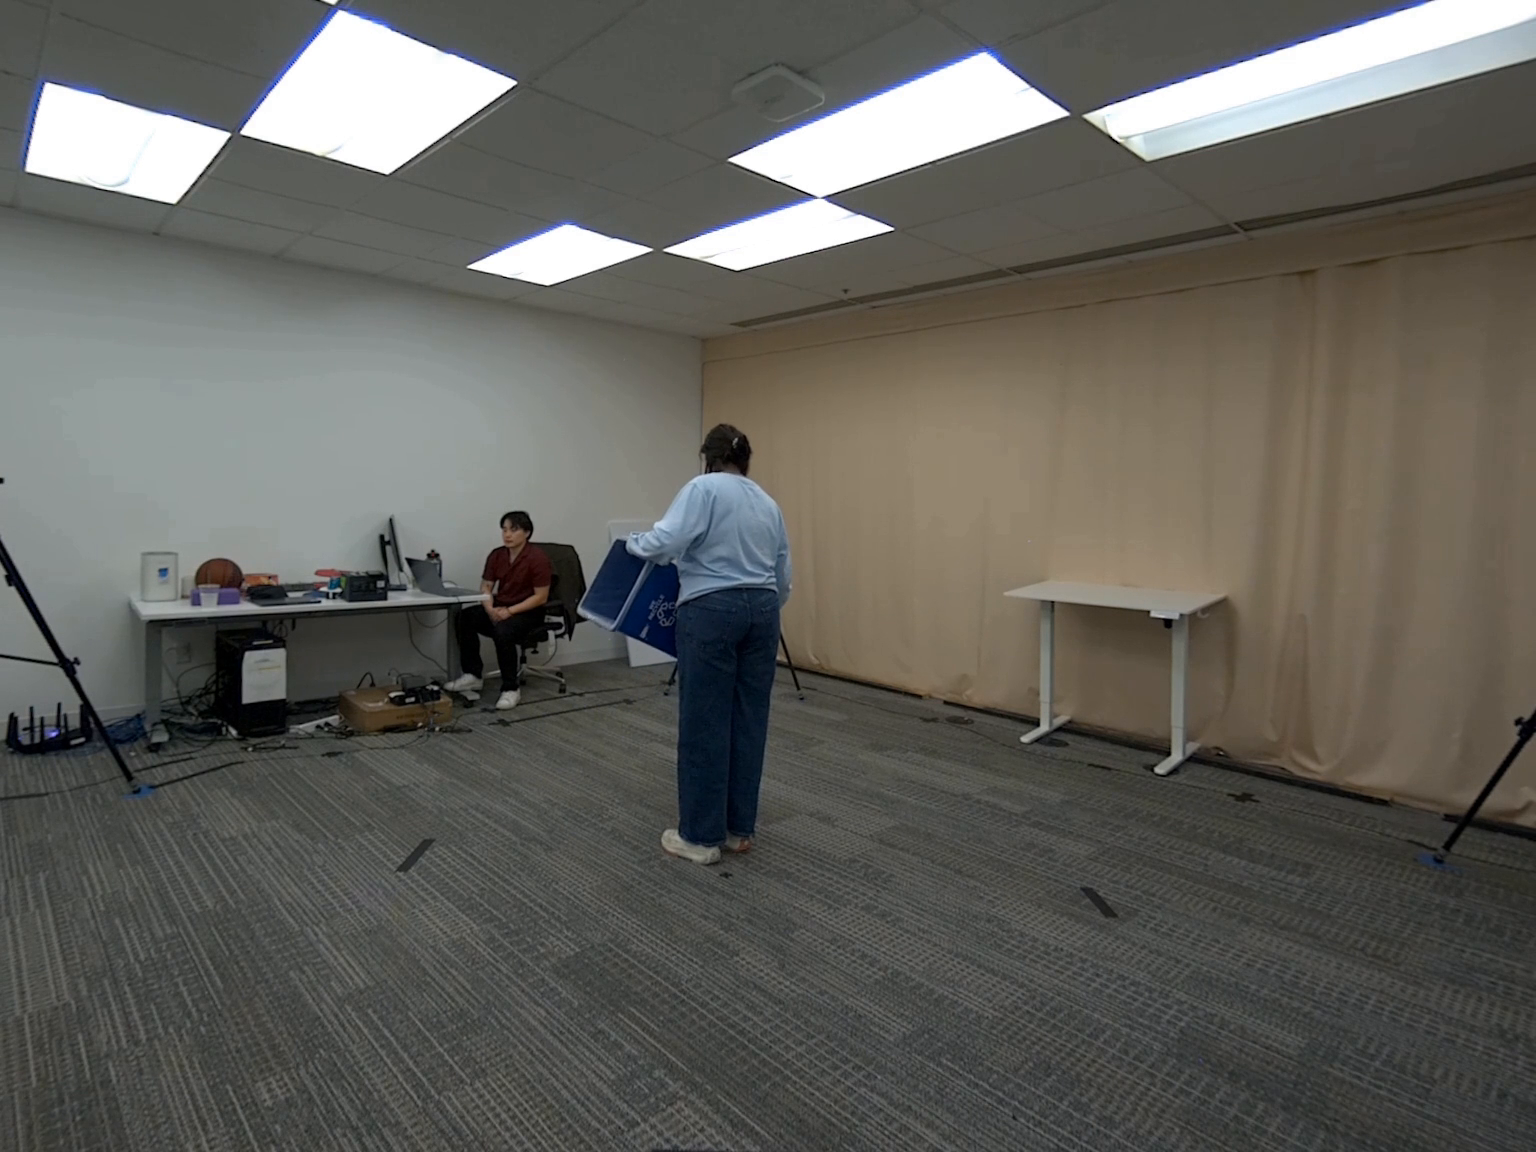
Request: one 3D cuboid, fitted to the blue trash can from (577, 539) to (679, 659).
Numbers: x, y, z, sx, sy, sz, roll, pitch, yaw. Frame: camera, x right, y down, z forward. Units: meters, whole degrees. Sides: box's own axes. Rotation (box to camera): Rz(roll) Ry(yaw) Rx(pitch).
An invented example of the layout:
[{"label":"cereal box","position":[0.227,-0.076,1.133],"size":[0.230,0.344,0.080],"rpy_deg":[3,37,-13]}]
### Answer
[{"label":"blue trash can","position":[-0.376,0.166,3.550],"size":[0.693,0.375,0.388],"rpy_deg":[32,-9,-34]}]
